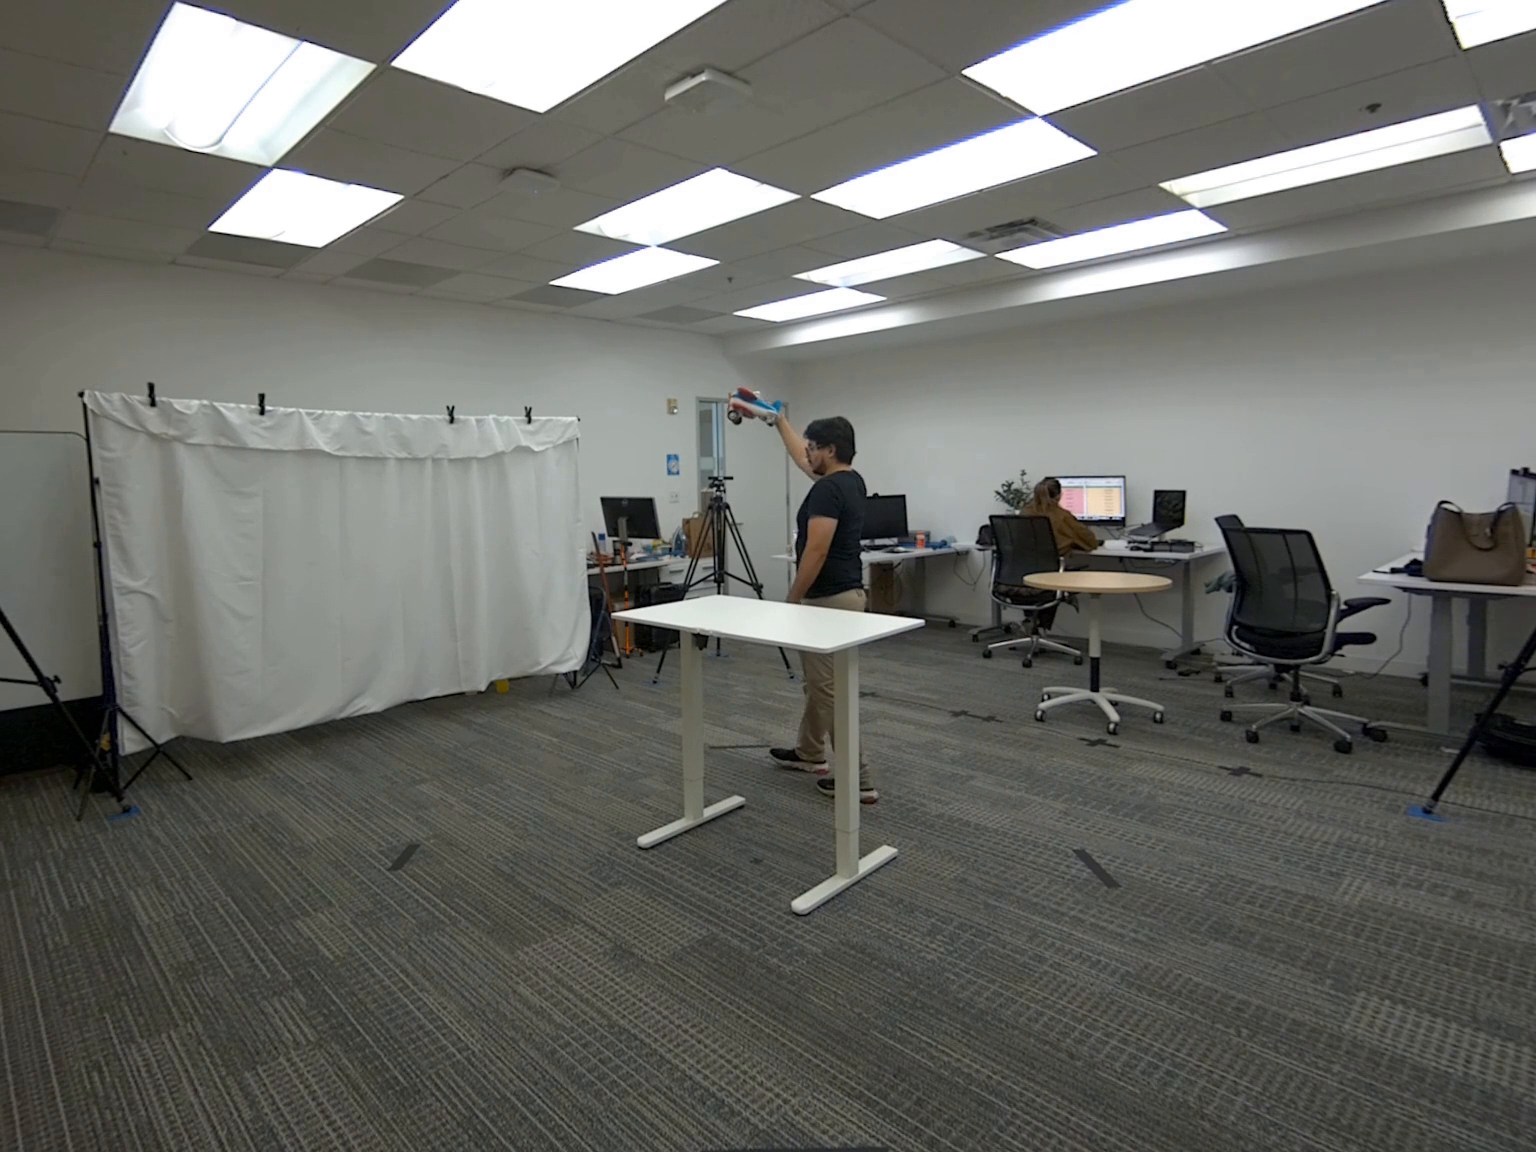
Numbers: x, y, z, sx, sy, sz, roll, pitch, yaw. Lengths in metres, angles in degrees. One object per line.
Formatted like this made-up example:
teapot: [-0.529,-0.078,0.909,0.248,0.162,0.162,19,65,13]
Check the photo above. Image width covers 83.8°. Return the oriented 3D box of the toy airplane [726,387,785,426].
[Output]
toy airplane: [-0.070,-0.808,4.124,0.255,0.157,0.255,8,-1,-16]
